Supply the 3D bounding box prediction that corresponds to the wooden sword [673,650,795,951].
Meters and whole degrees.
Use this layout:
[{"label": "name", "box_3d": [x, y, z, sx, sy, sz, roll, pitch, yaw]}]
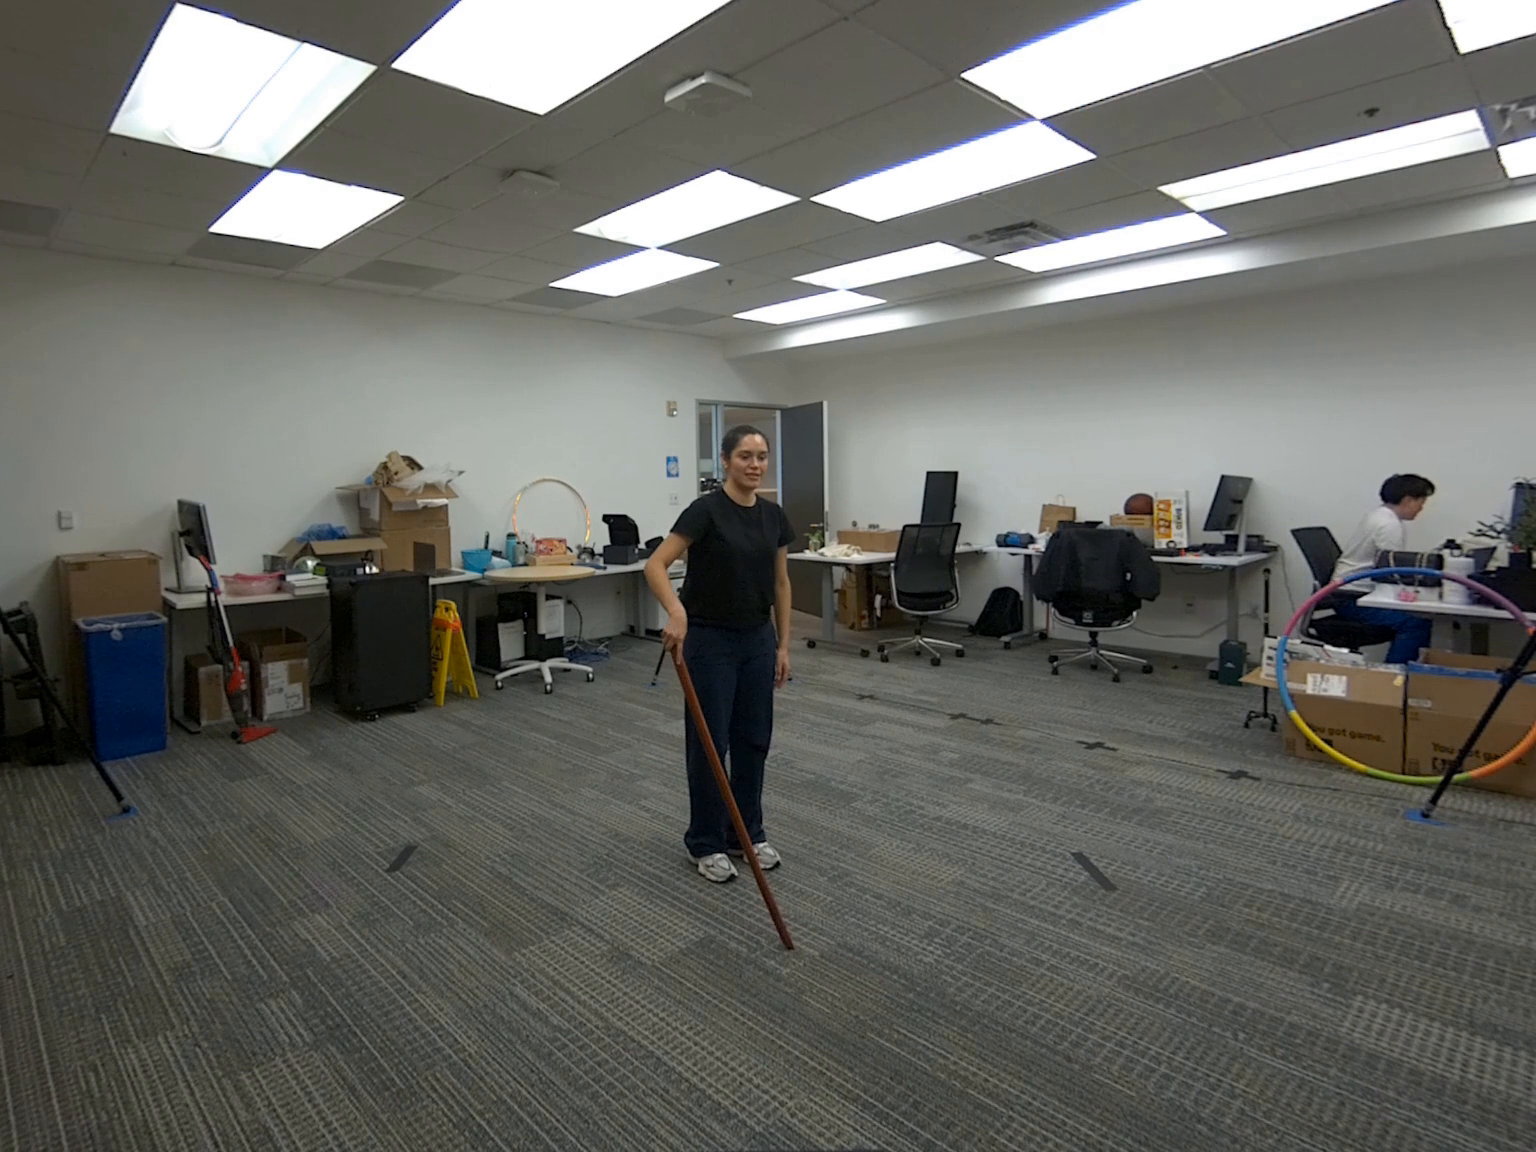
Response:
[{"label": "wooden sword", "box_3d": [-0.128, 0.663, 2.676, 0.024, 1.042, 0.051, -17, -16, -27]}]
